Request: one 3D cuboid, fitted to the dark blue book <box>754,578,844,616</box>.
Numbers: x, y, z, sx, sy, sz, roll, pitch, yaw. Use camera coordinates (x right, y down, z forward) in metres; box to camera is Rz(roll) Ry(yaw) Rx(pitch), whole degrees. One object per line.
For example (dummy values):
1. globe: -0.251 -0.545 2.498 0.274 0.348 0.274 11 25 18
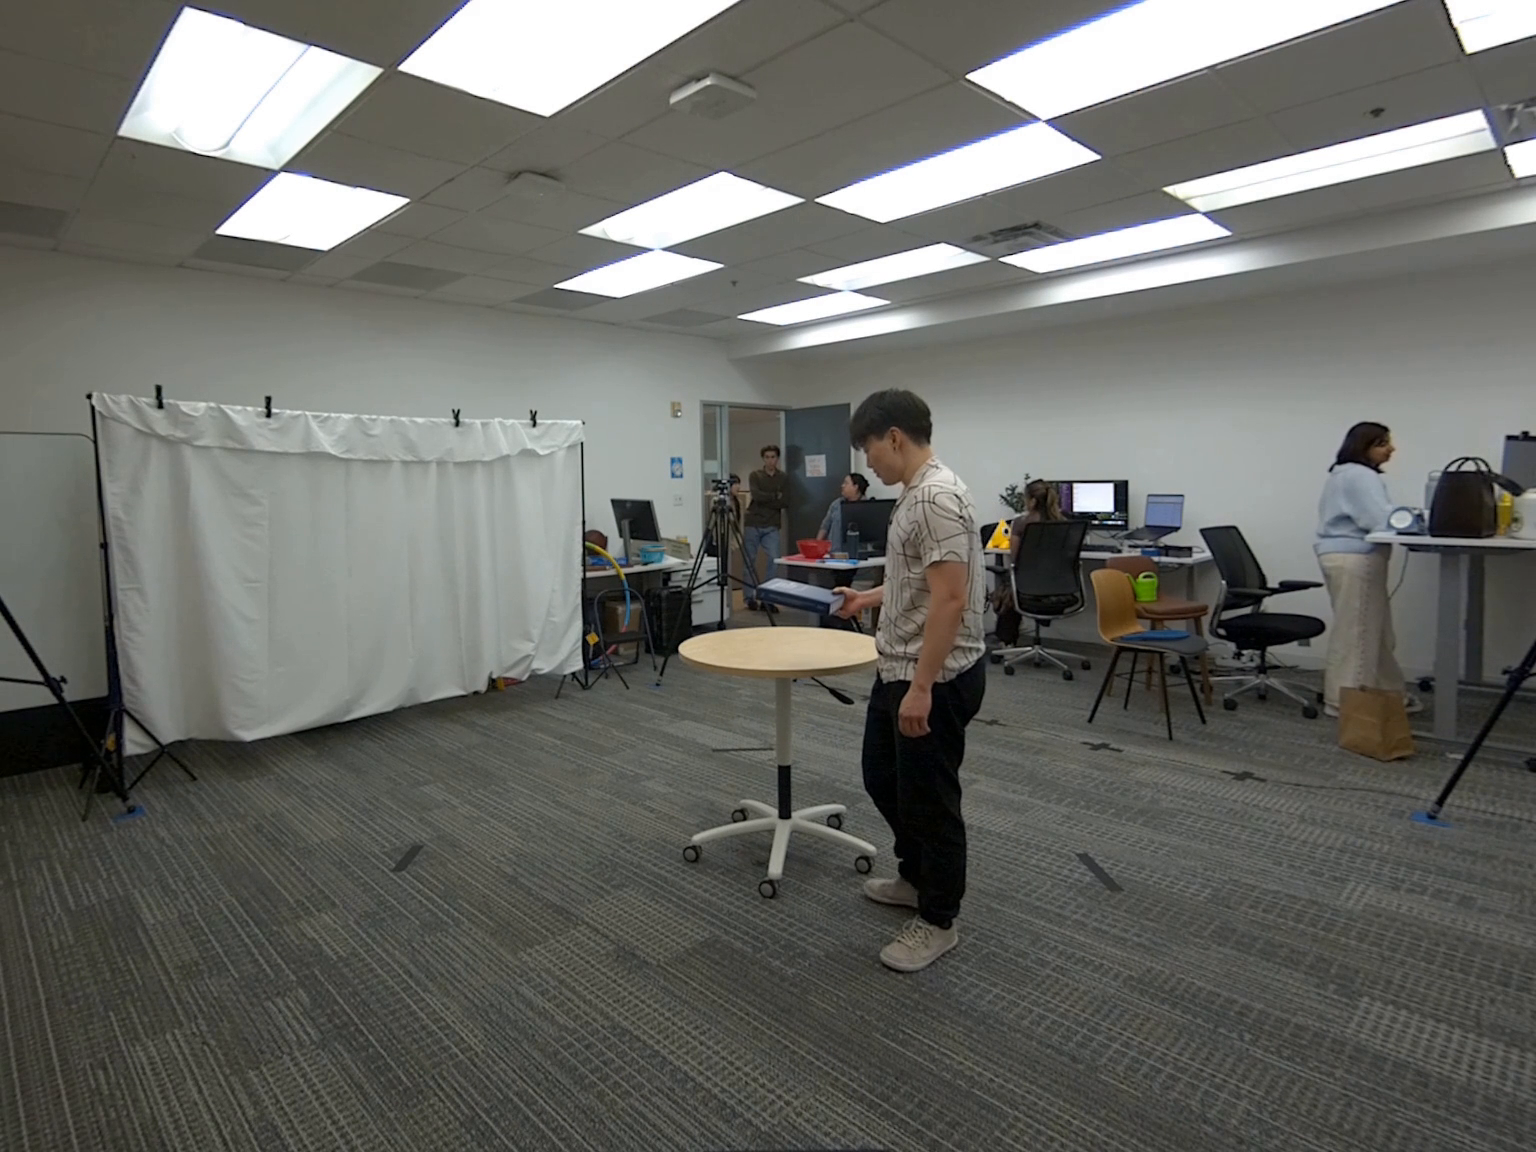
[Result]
1. dark blue book: 0.111 0.066 2.696 0.251 0.045 0.161 11 13 23
